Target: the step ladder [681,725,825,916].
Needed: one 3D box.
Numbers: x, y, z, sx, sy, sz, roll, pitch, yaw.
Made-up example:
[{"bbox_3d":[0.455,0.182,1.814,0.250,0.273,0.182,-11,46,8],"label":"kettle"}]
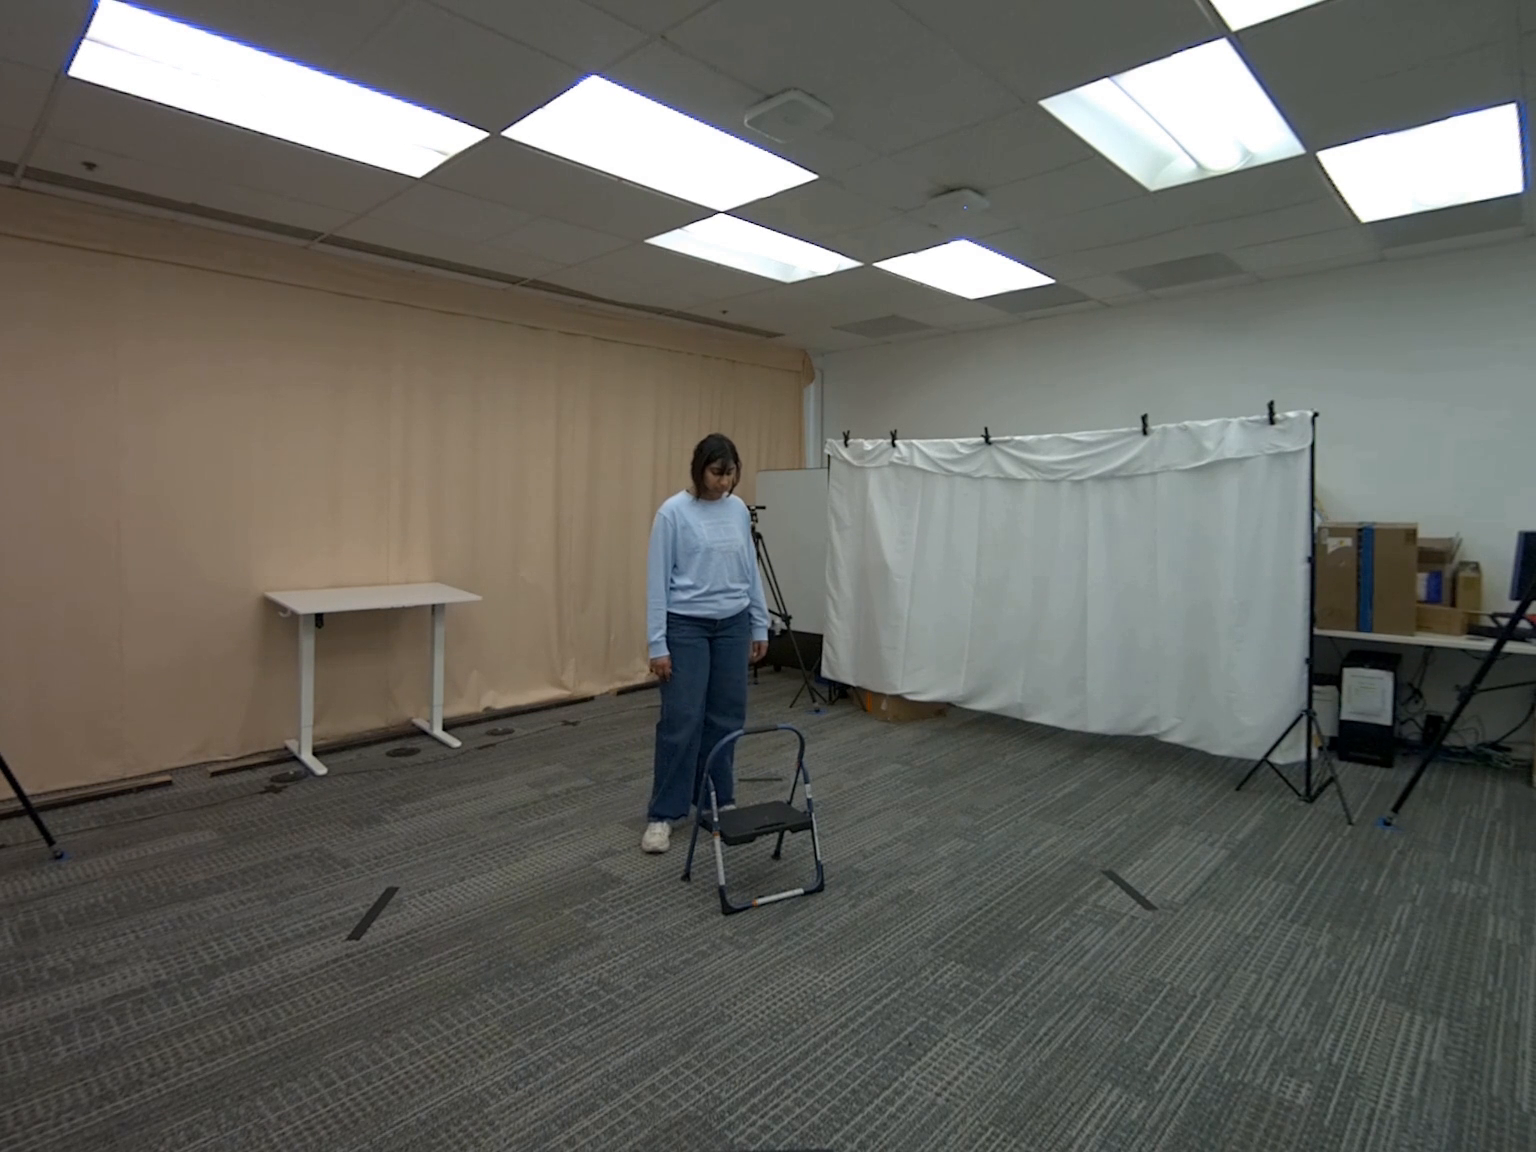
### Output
[{"bbox_3d":[-0.054,0.834,3.082,0.419,0.605,0.359,-3,4,-30],"label":"step ladder"}]
